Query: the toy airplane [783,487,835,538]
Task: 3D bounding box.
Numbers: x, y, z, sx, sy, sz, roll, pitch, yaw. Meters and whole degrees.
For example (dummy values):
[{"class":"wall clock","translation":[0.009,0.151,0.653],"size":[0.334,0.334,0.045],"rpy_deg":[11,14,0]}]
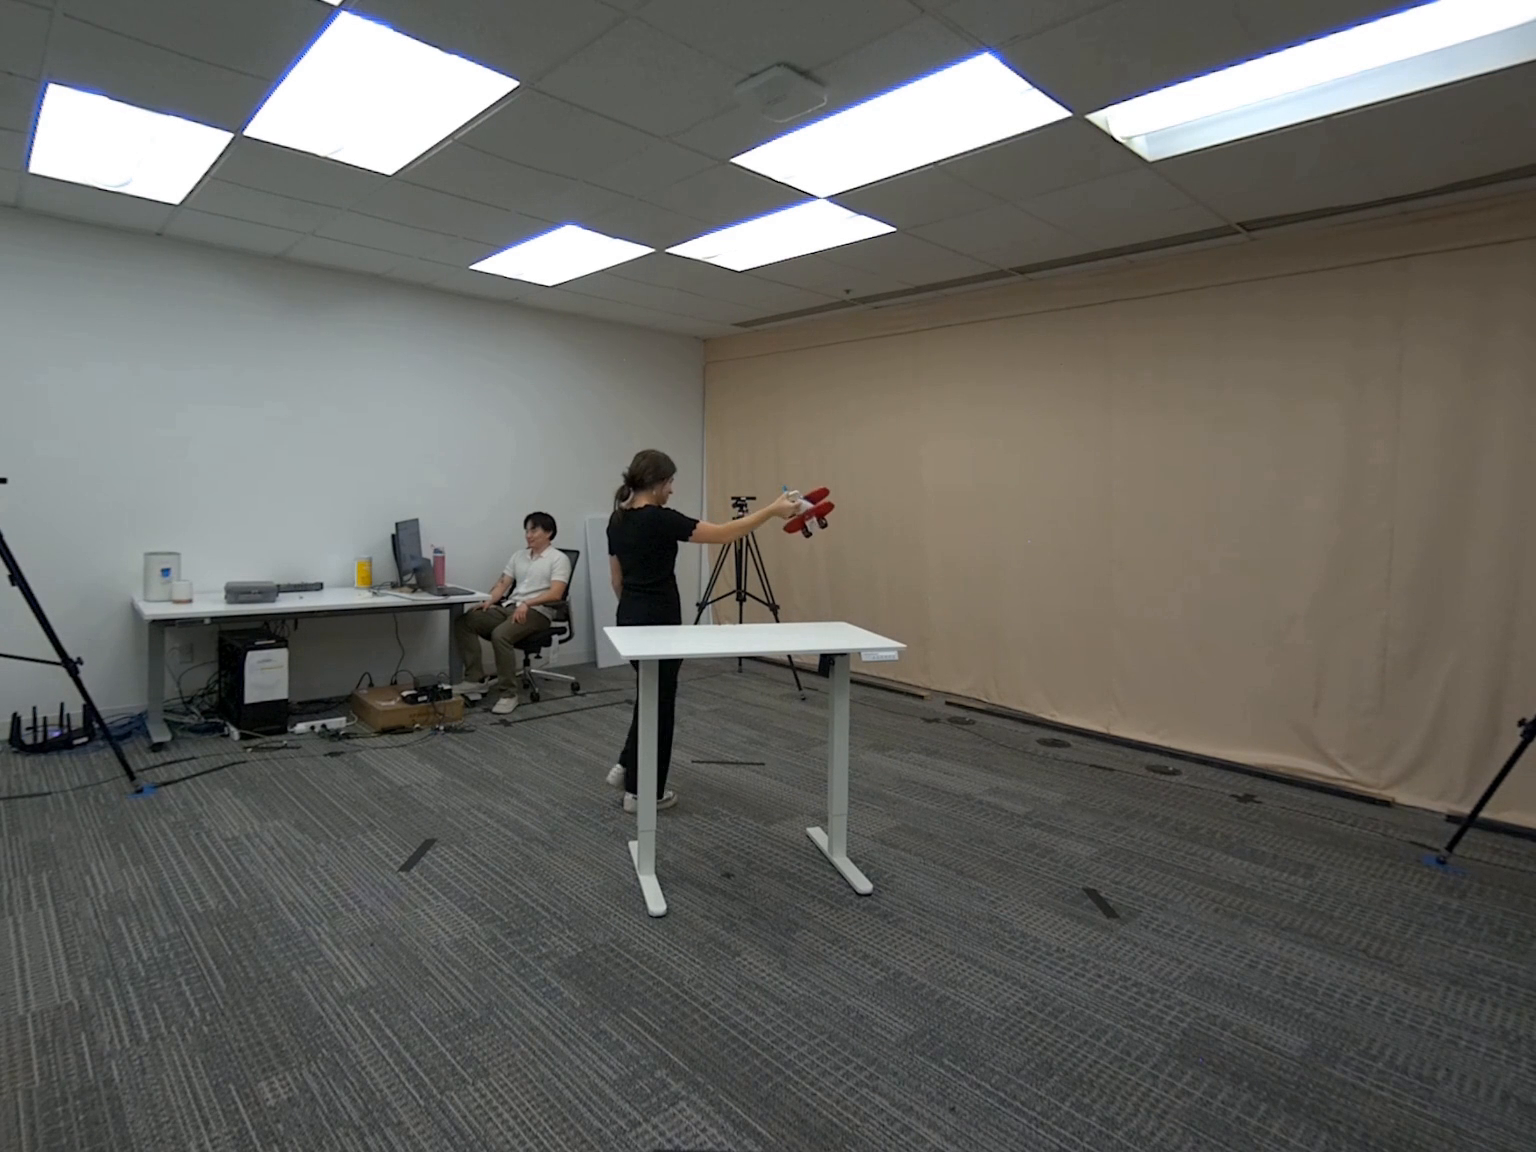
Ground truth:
[{"class":"toy airplane","translation":[0.153,-0.305,3.673],"size":[0.252,0.160,0.252],"rpy_deg":[-10,-43,5]}]
